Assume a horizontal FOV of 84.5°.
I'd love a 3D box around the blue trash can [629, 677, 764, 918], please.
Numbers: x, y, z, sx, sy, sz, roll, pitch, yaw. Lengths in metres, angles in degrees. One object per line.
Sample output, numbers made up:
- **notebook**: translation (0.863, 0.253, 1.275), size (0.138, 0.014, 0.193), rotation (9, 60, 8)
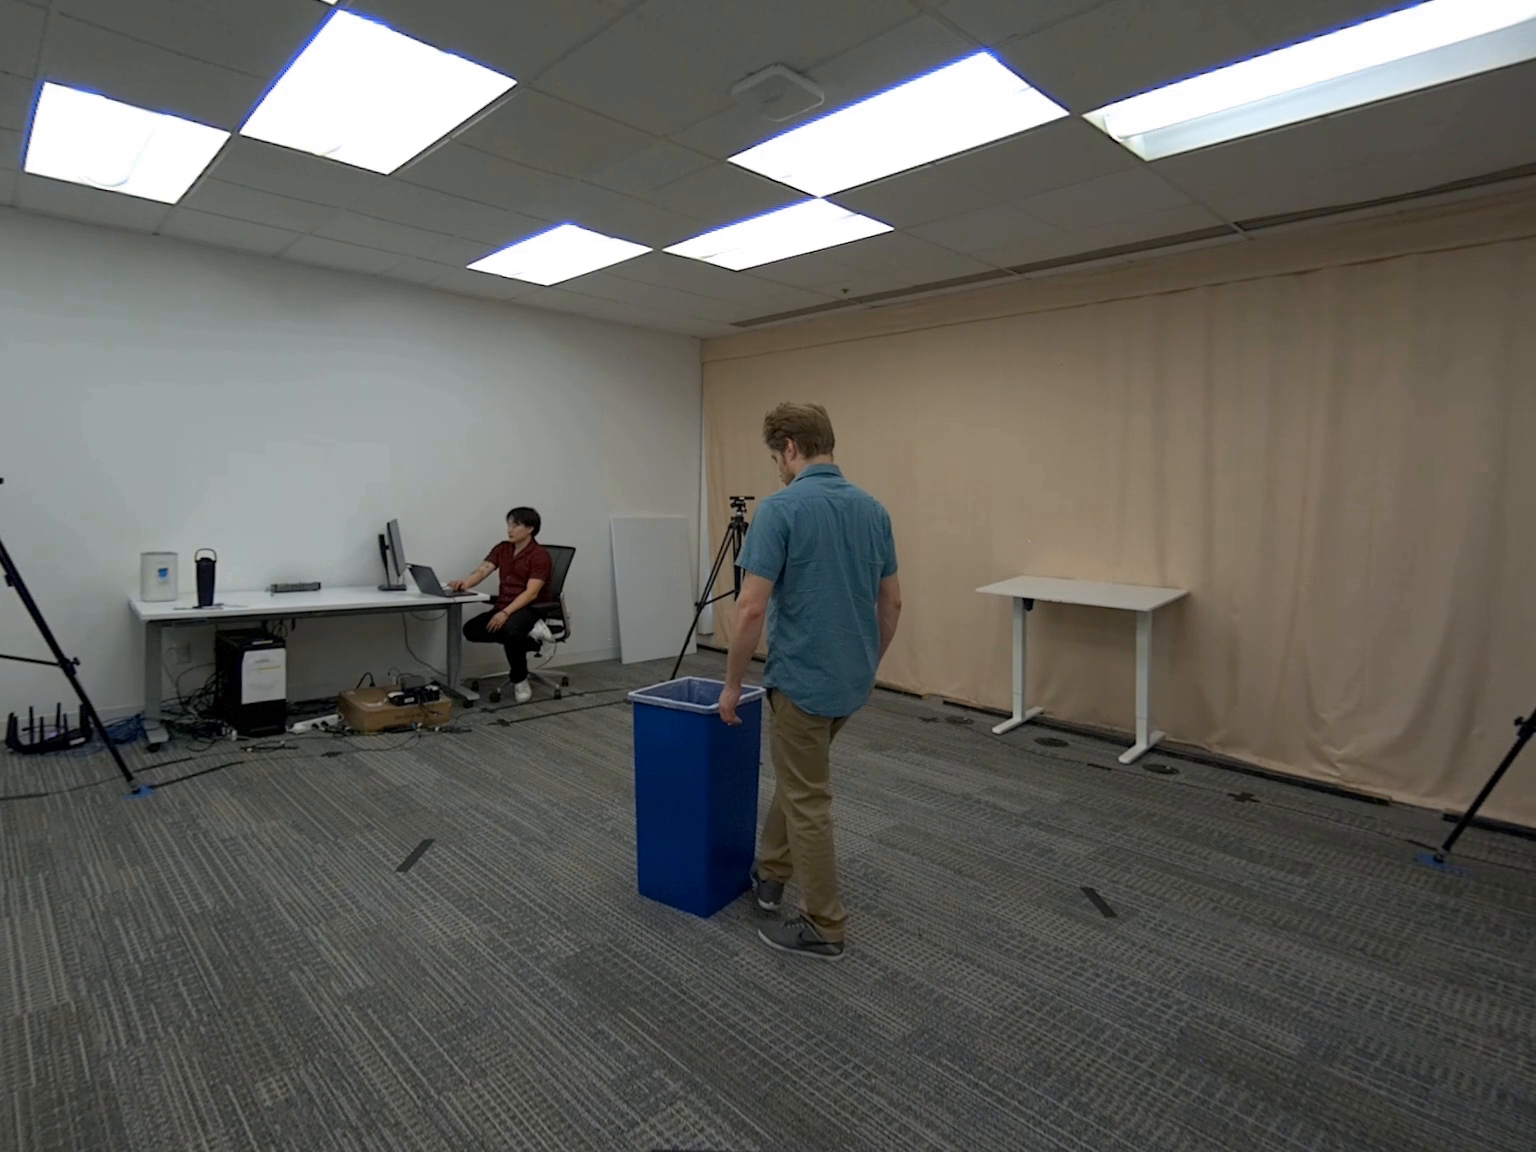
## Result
- **blue trash can**: translation (-0.267, 0.756, 2.970), size (0.382, 0.712, 0.370), rotation (3, 4, 32)
